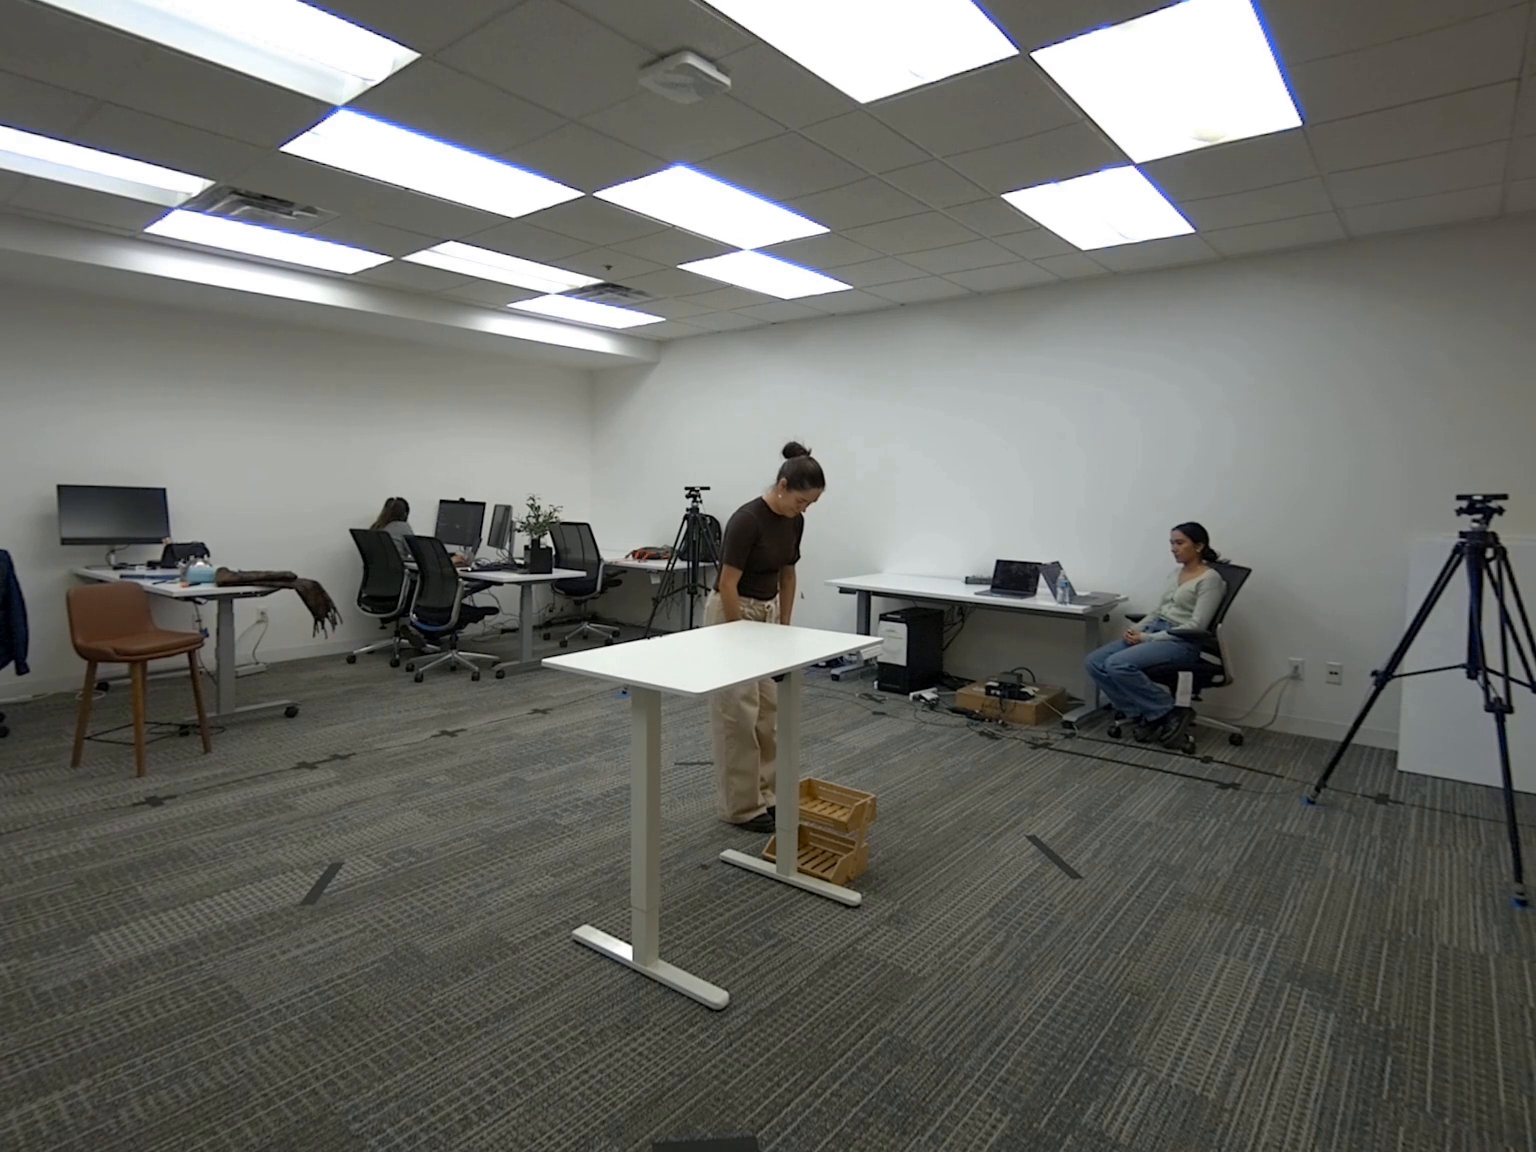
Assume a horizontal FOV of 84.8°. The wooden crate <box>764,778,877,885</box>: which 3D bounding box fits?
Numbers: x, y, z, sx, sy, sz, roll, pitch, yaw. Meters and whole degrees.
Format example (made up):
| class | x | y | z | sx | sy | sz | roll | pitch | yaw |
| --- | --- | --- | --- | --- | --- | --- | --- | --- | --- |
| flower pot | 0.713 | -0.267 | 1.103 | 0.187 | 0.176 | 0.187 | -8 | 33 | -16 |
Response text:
| class | x | y | z | sx | sy | sz | roll | pitch | yaw |
| --- | --- | --- | --- | --- | --- | --- | --- | --- | --- |
| wooden crate | 0.184 | 0.935 | 3.144 | 0.335 | 0.272 | 0.293 | 5 | 4 | 37 |
